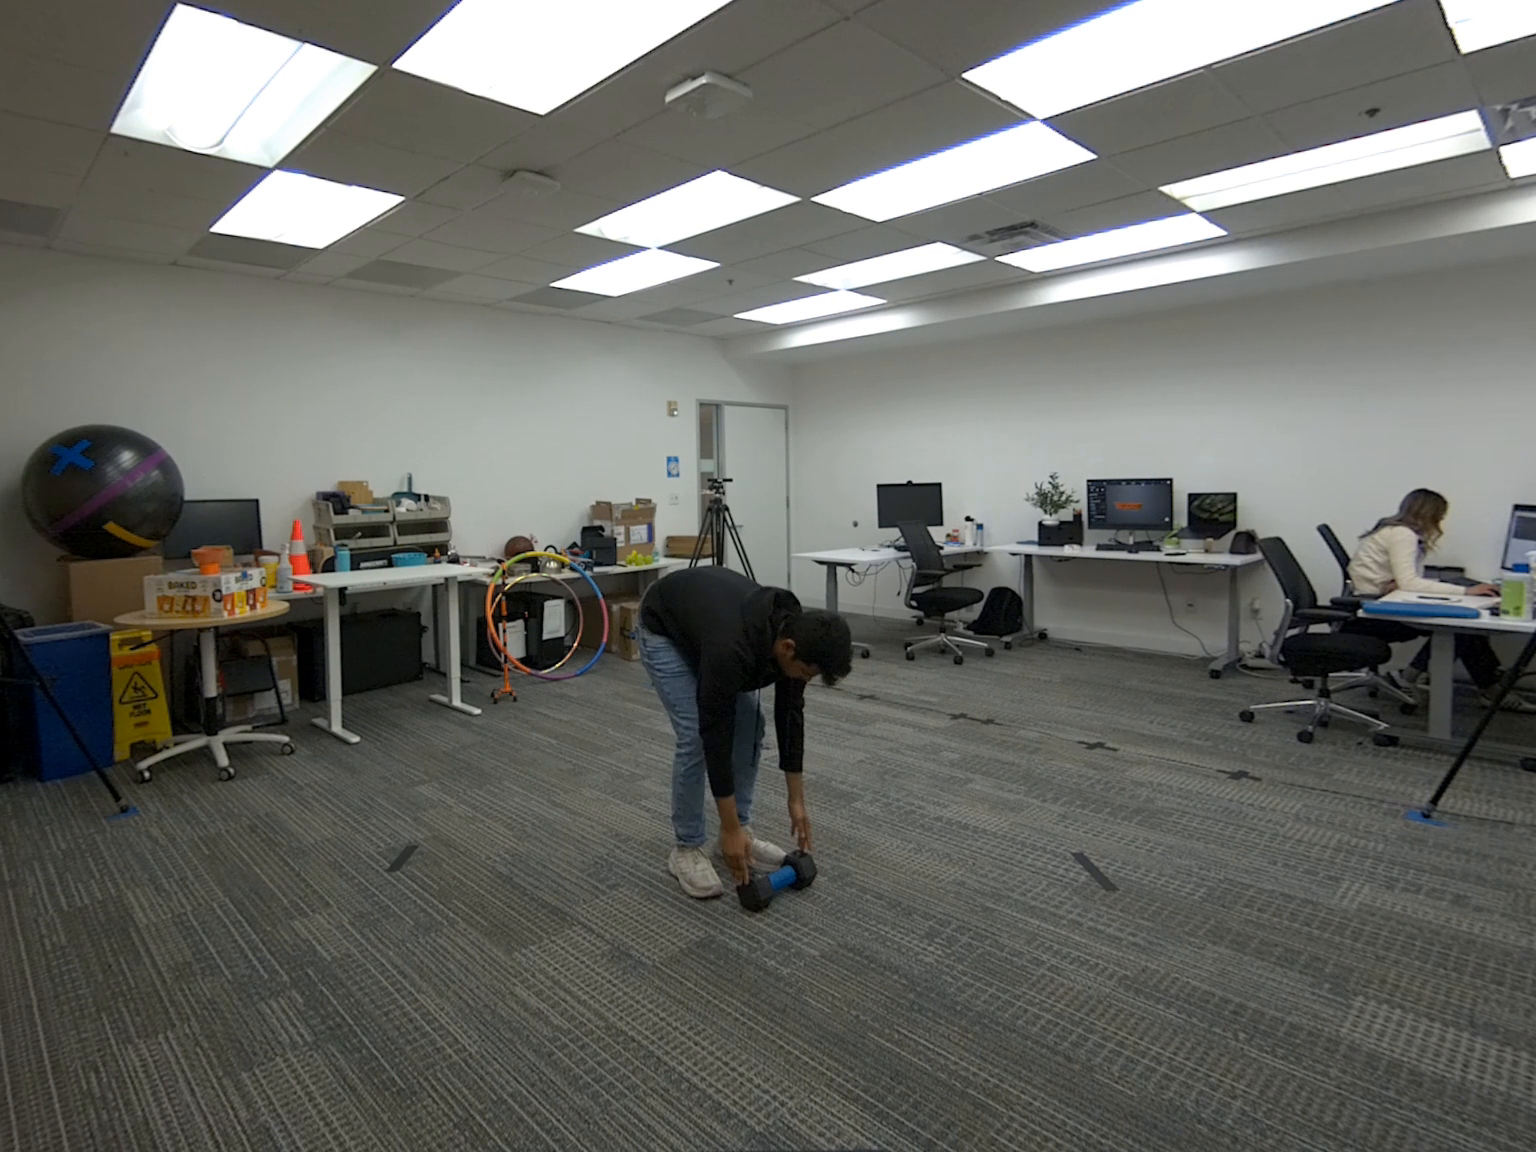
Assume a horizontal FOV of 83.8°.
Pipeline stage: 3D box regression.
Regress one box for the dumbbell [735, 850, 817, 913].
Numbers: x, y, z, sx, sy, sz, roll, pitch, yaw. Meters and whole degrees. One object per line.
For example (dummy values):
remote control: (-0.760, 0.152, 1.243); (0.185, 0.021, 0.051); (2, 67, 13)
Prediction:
dumbbell: (0.033, 1.016, 2.862); (0.286, 0.108, 0.127); (-6, 8, -43)
